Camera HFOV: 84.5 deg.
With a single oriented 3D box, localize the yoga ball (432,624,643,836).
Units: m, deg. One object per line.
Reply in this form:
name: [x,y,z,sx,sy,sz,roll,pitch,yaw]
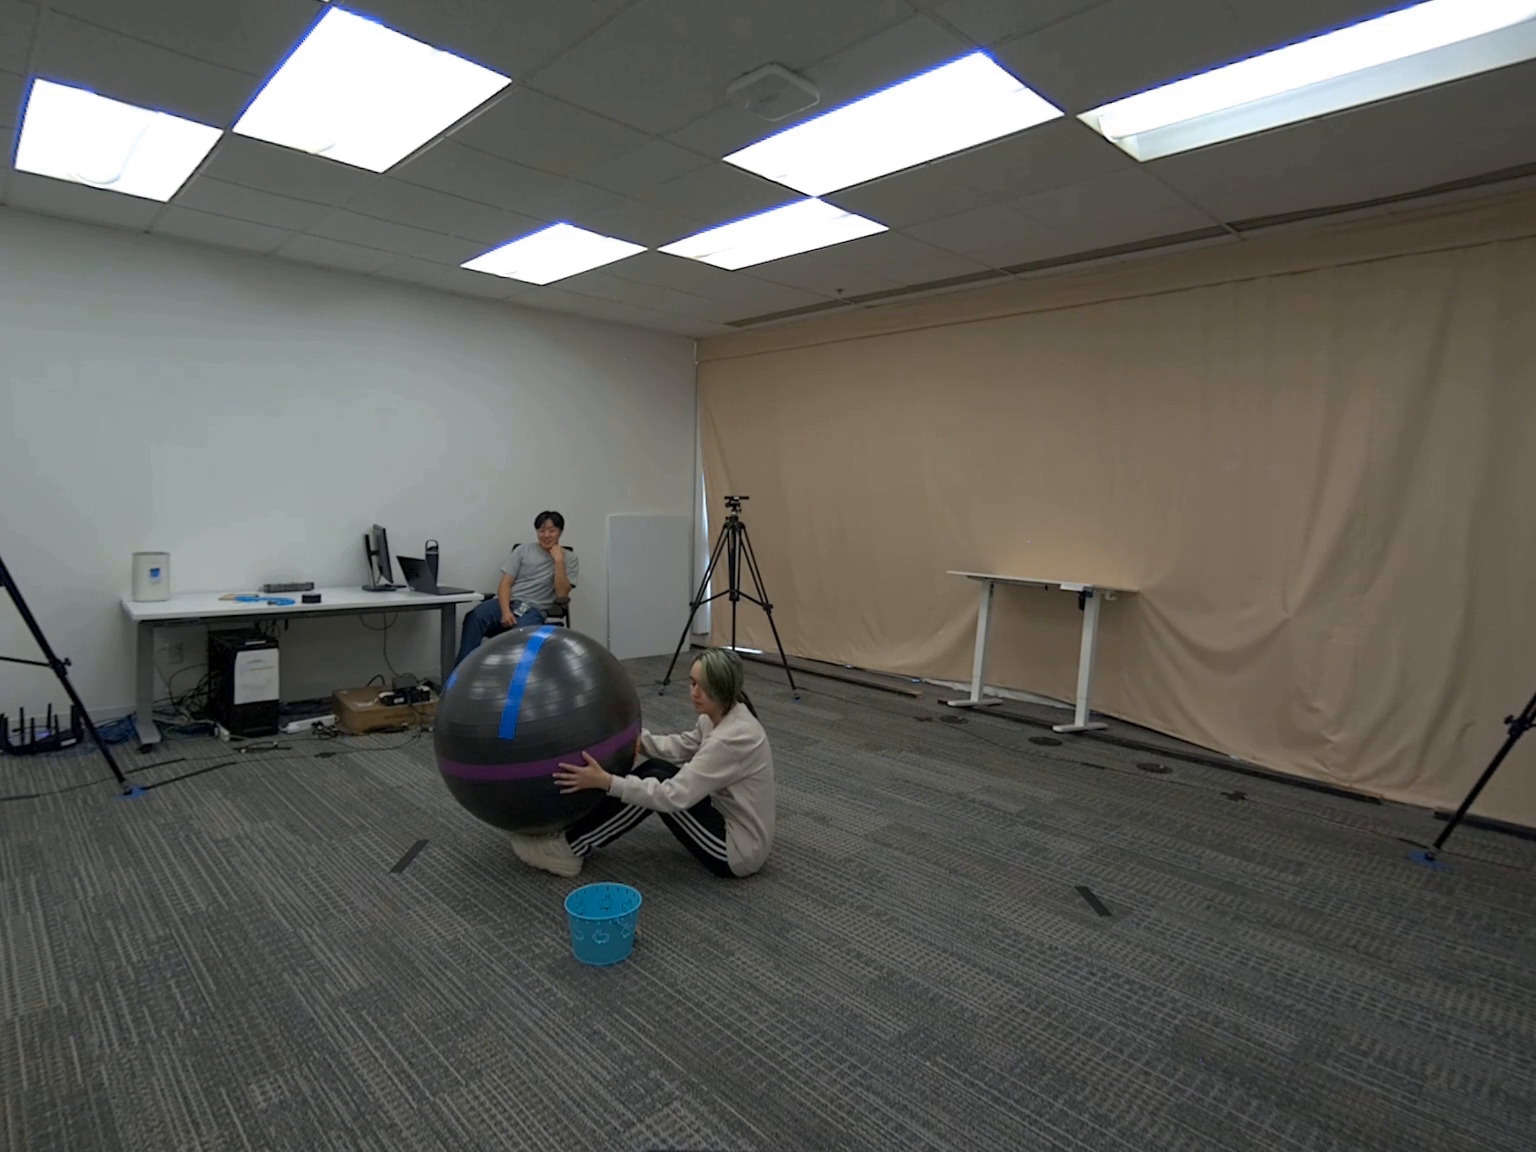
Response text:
yoga ball: [-0.869,0.566,3.149,0.757,0.756,0.761,1,4,-1]
